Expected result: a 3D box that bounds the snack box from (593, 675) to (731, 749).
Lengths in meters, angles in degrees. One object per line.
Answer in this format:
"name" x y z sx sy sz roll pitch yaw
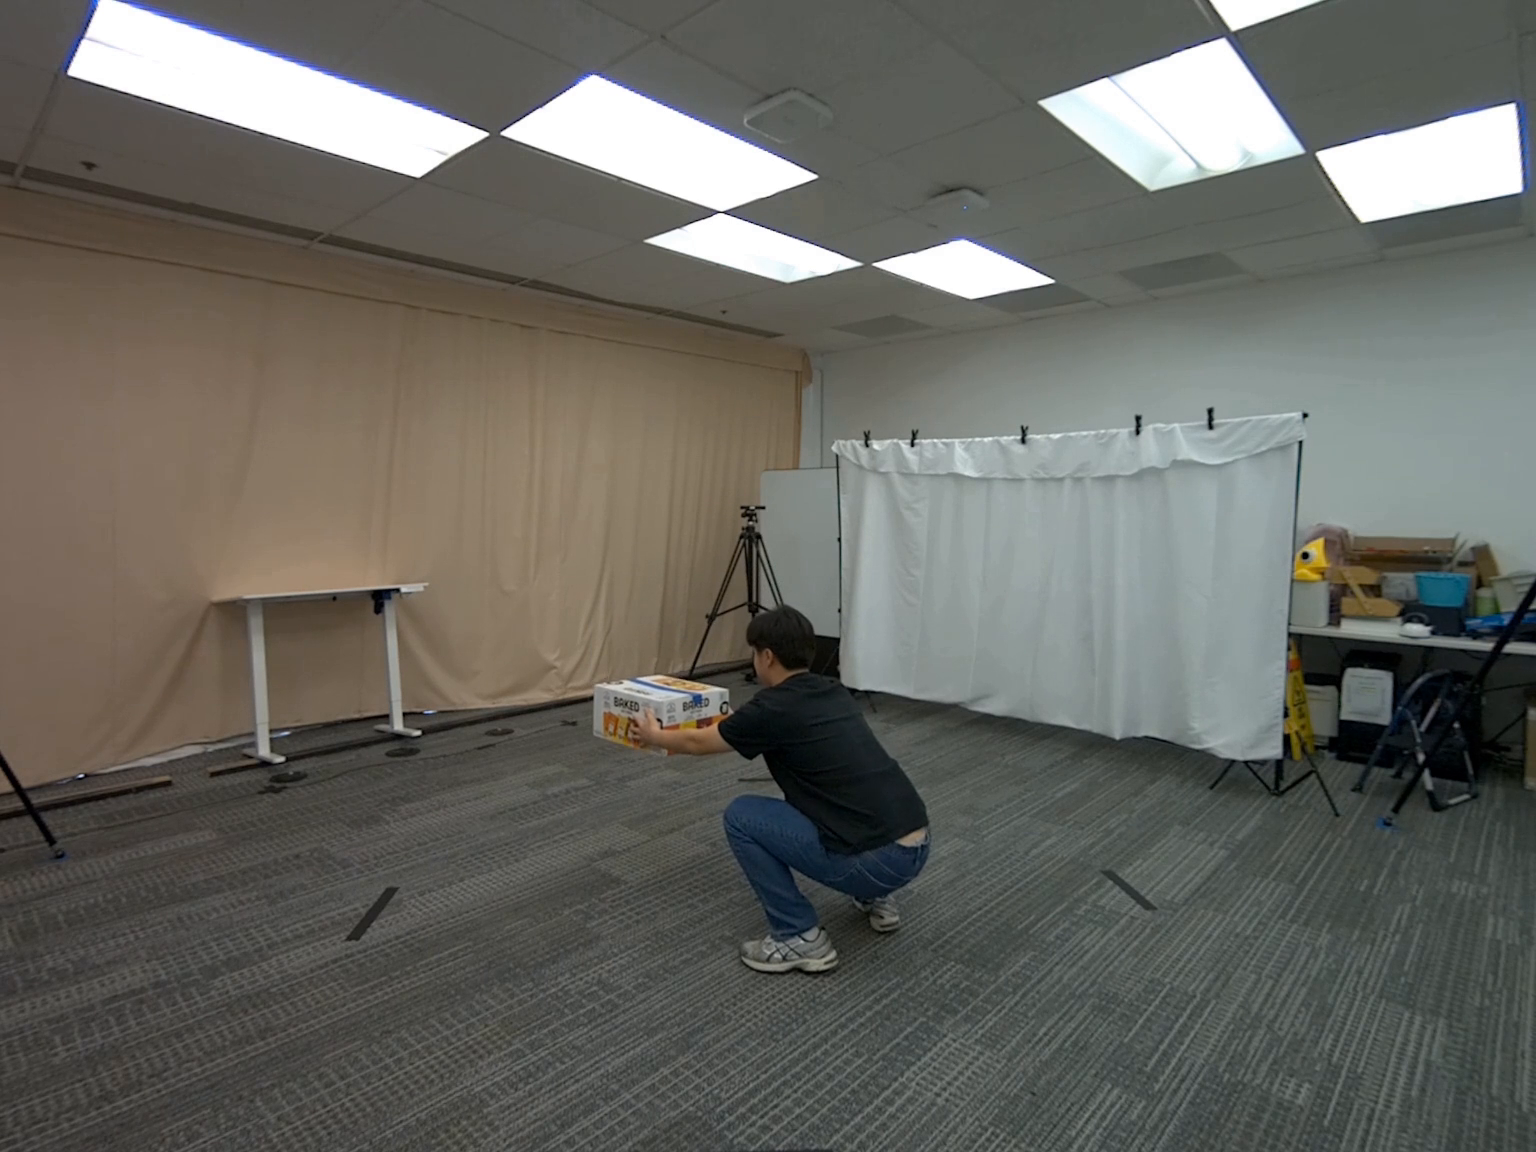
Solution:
"snack box" -0.415 0.524 3.259 0.419 0.205 0.329 4 4 43
